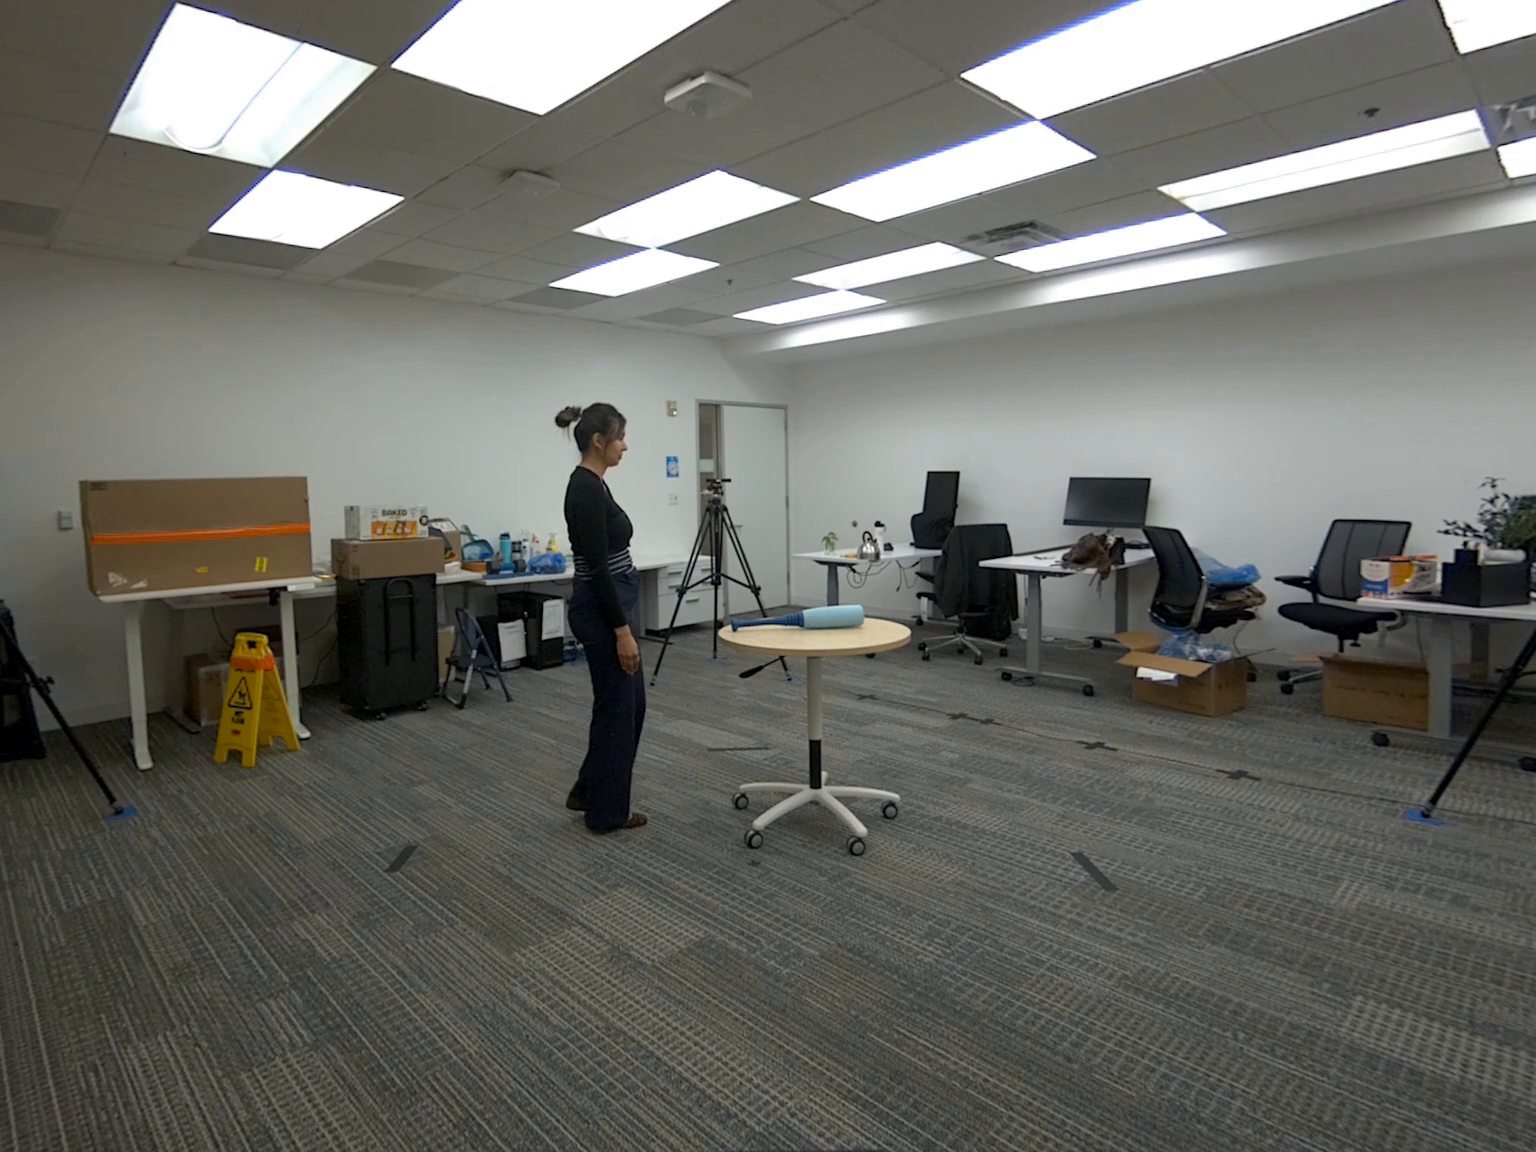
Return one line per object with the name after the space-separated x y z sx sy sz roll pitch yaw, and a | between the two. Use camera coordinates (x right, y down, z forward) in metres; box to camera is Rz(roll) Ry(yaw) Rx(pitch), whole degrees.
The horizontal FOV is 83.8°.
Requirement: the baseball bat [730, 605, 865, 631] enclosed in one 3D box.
0.119 0.178 3.475 0.541 0.089 0.090 -4 5 -3 | baseball bat
